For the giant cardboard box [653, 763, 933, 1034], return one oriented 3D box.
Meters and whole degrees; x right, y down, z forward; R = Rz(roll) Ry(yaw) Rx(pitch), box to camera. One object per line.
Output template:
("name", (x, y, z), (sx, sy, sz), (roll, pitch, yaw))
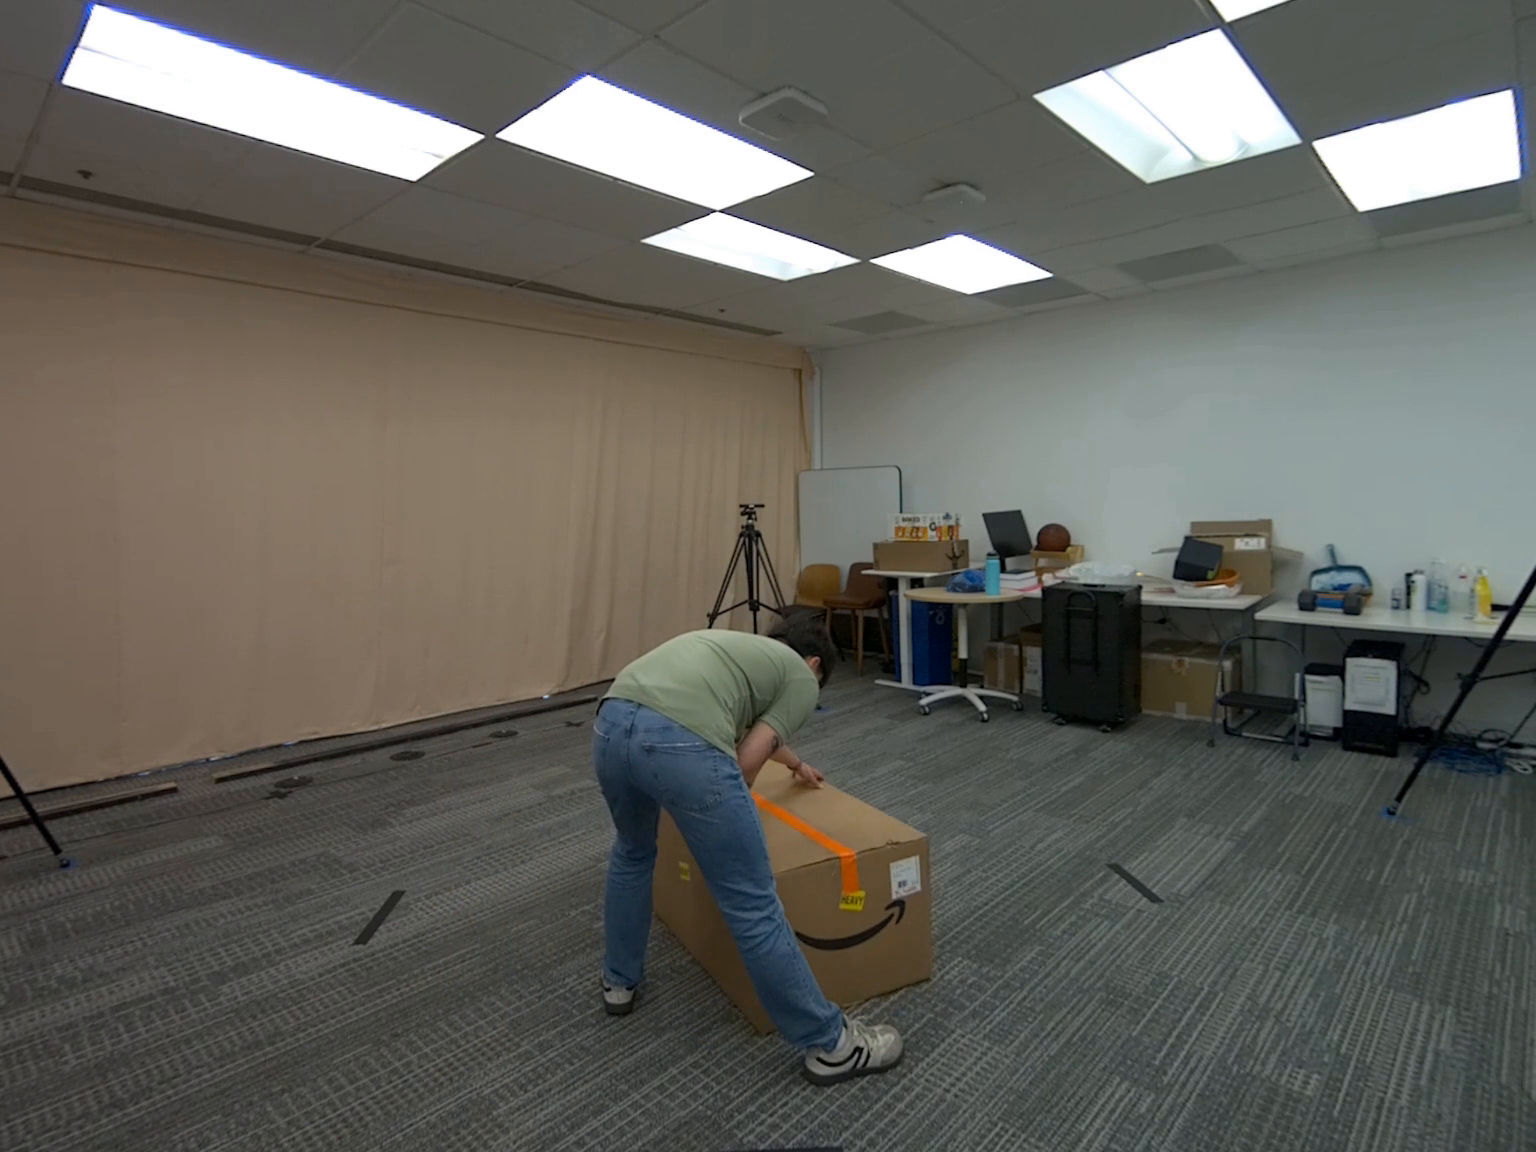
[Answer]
("giant cardboard box", (-0.015, 0.943, 2.782), (0.563, 0.425, 1.054), (-4, 6, -28))
